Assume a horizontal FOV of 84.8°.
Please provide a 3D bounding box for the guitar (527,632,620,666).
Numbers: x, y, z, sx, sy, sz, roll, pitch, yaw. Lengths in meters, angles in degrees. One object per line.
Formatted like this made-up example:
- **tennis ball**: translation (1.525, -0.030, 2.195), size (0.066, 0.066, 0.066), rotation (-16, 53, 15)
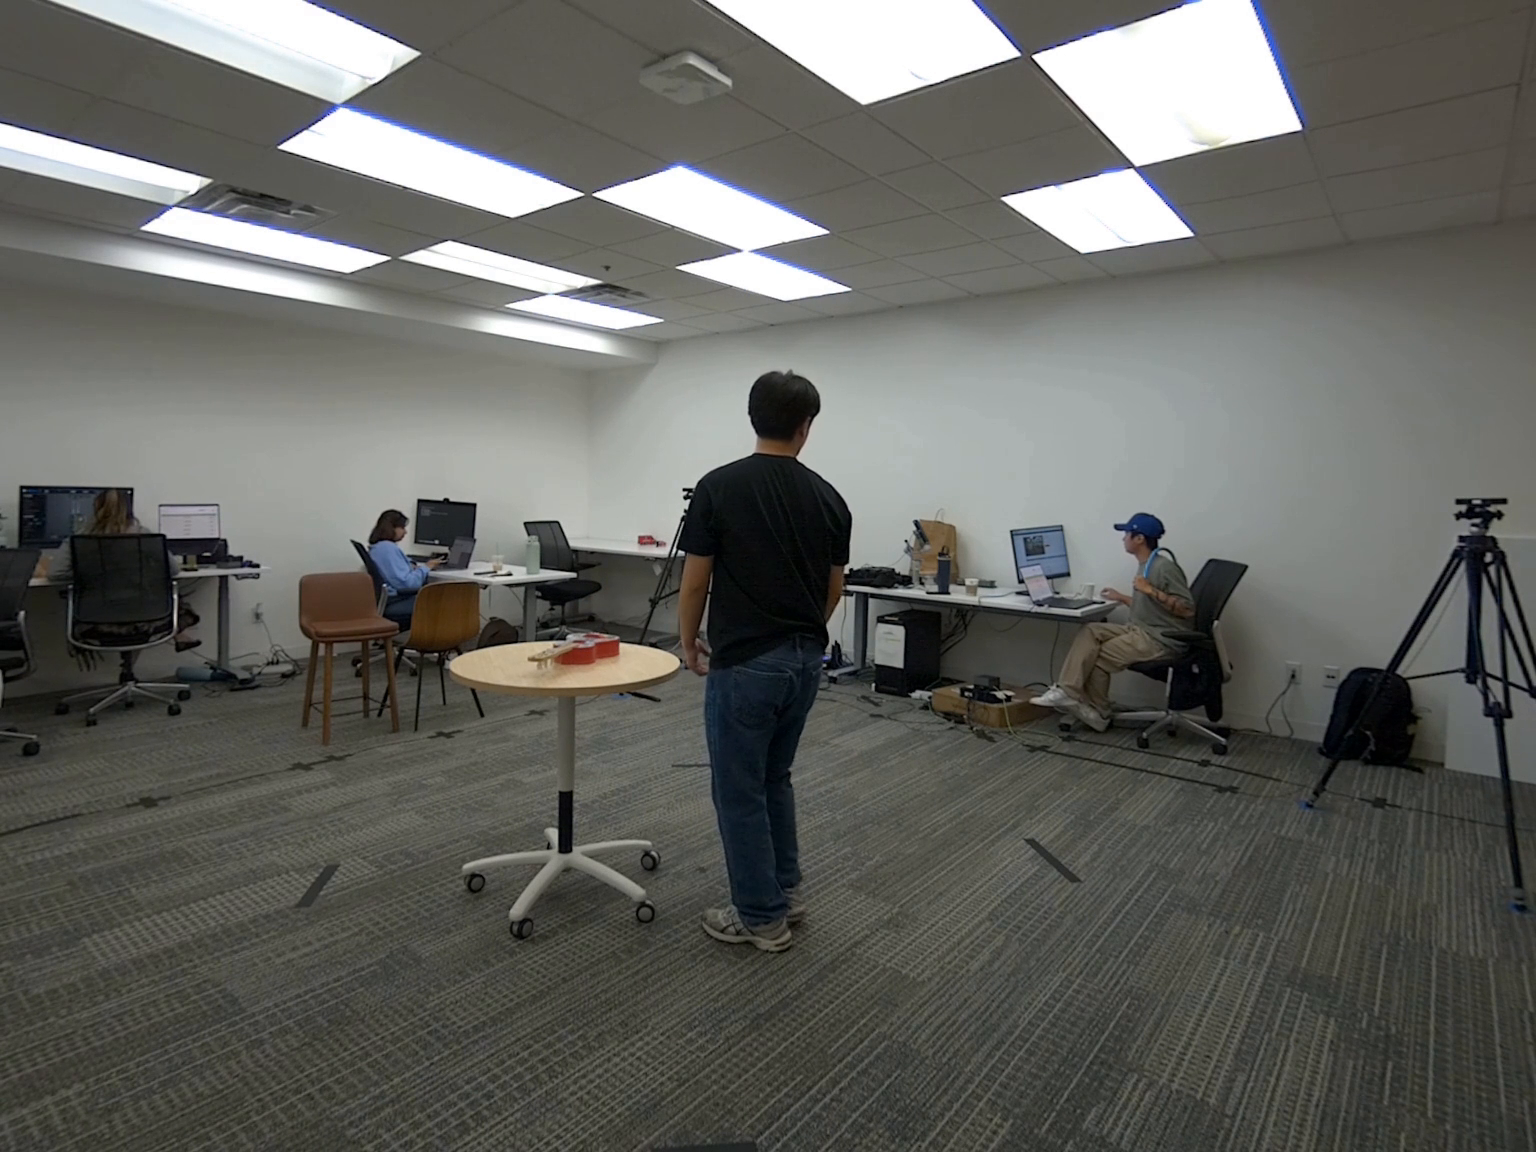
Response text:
- **guitar**: translation (-0.705, 0.256, 2.865), size (0.198, 0.070, 0.488), rotation (4, 6, 22)
